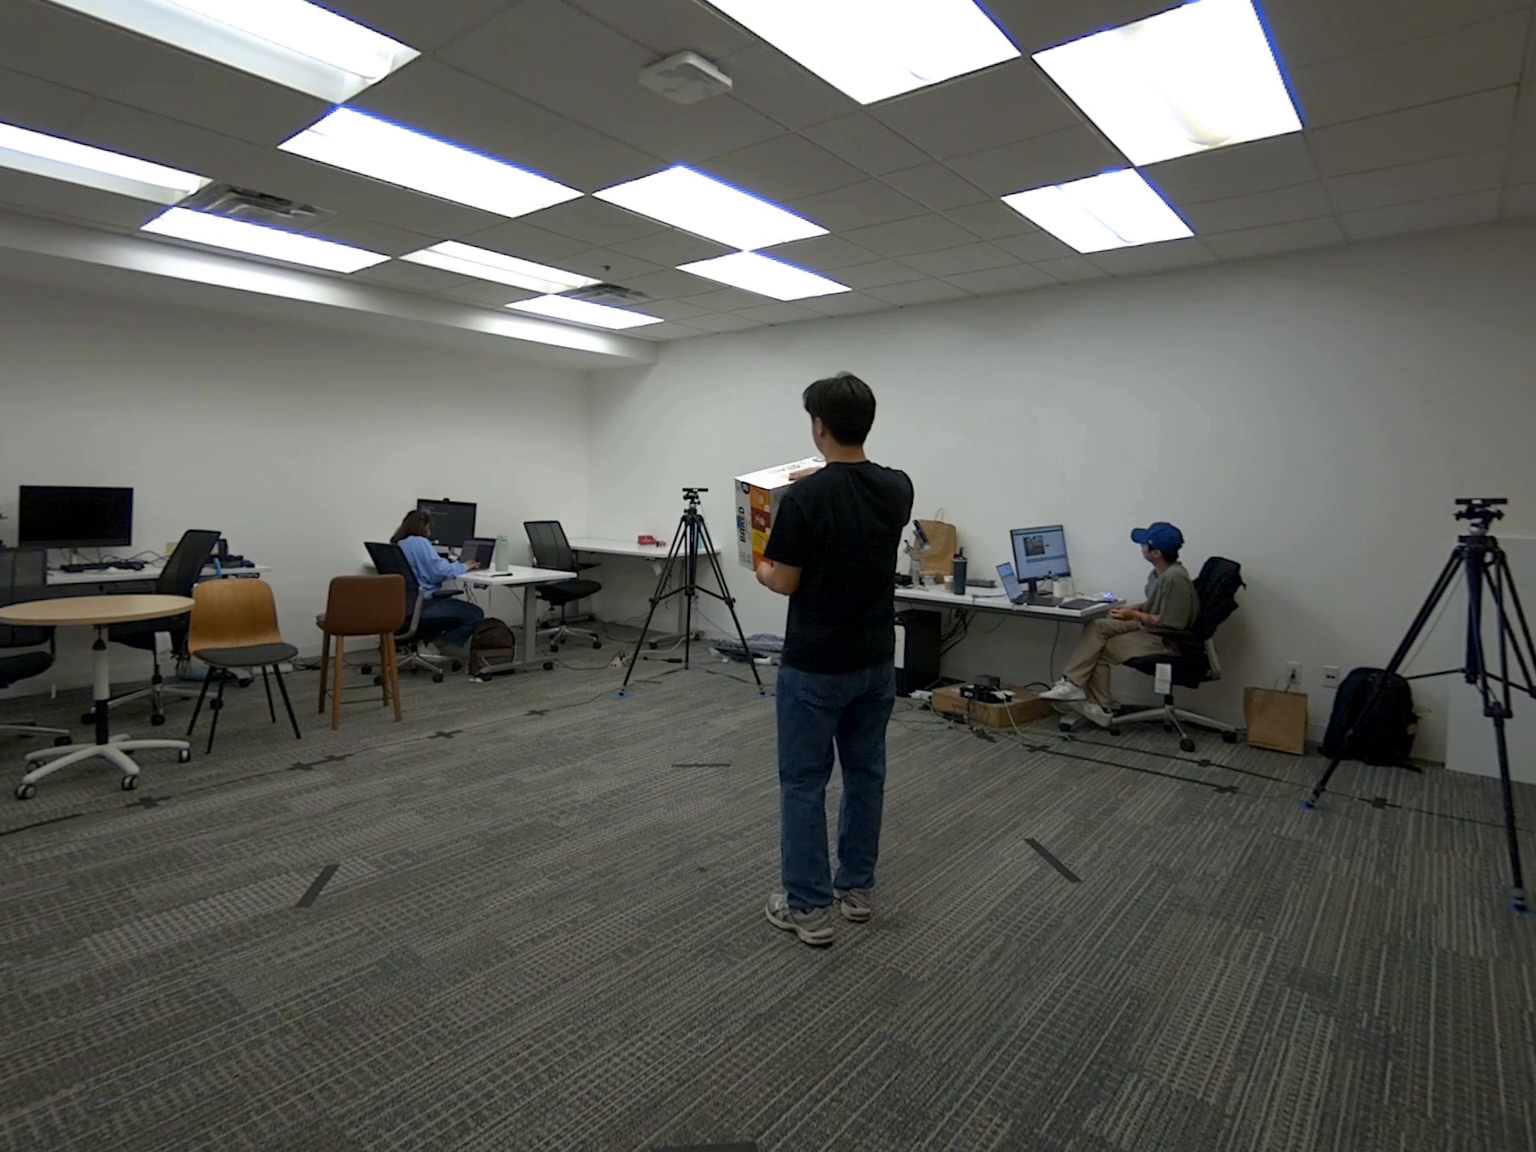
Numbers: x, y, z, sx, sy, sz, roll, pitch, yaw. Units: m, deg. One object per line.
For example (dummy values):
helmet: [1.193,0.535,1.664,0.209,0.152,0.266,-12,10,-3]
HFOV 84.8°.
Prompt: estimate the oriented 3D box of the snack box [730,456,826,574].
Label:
snack box: [0.089,-0.229,3.154,0.397,0.334,0.214,-17,25,-33]
